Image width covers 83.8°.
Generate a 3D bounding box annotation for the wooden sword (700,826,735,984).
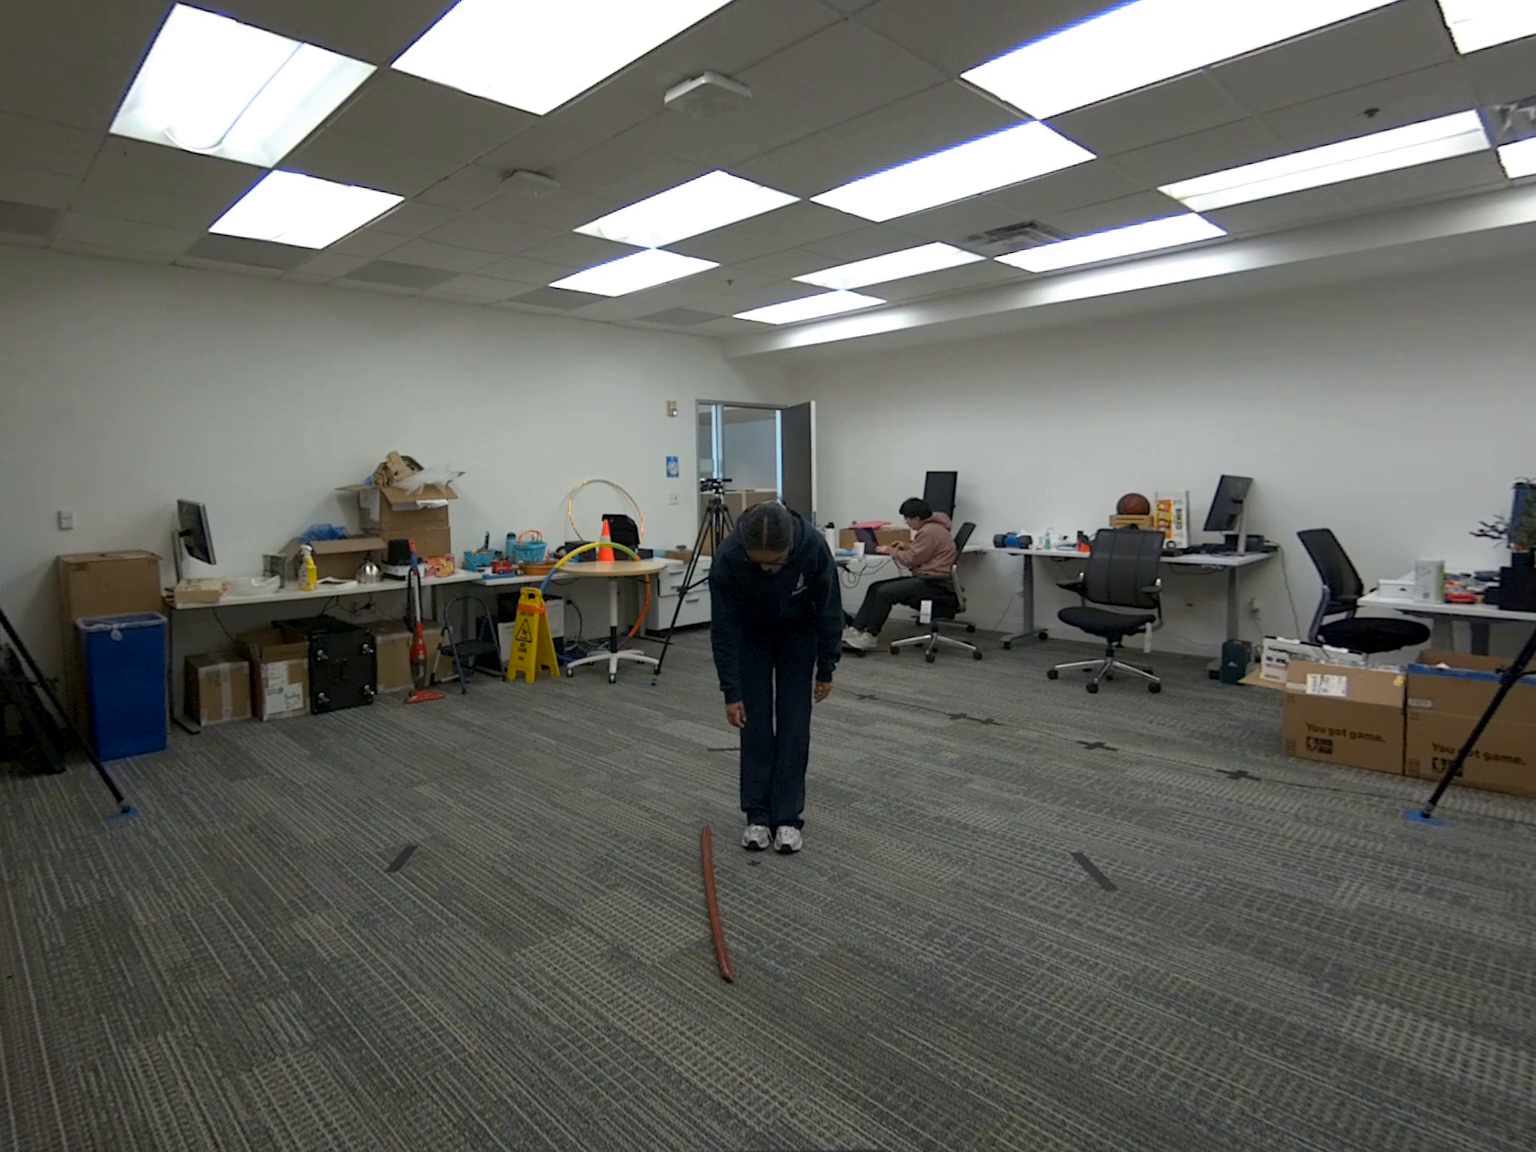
[{"bbox_3d":[-0.191,1.059,2.870,0.024,0.051,1.036,14,4,-10],"label":"wooden sword"}]
